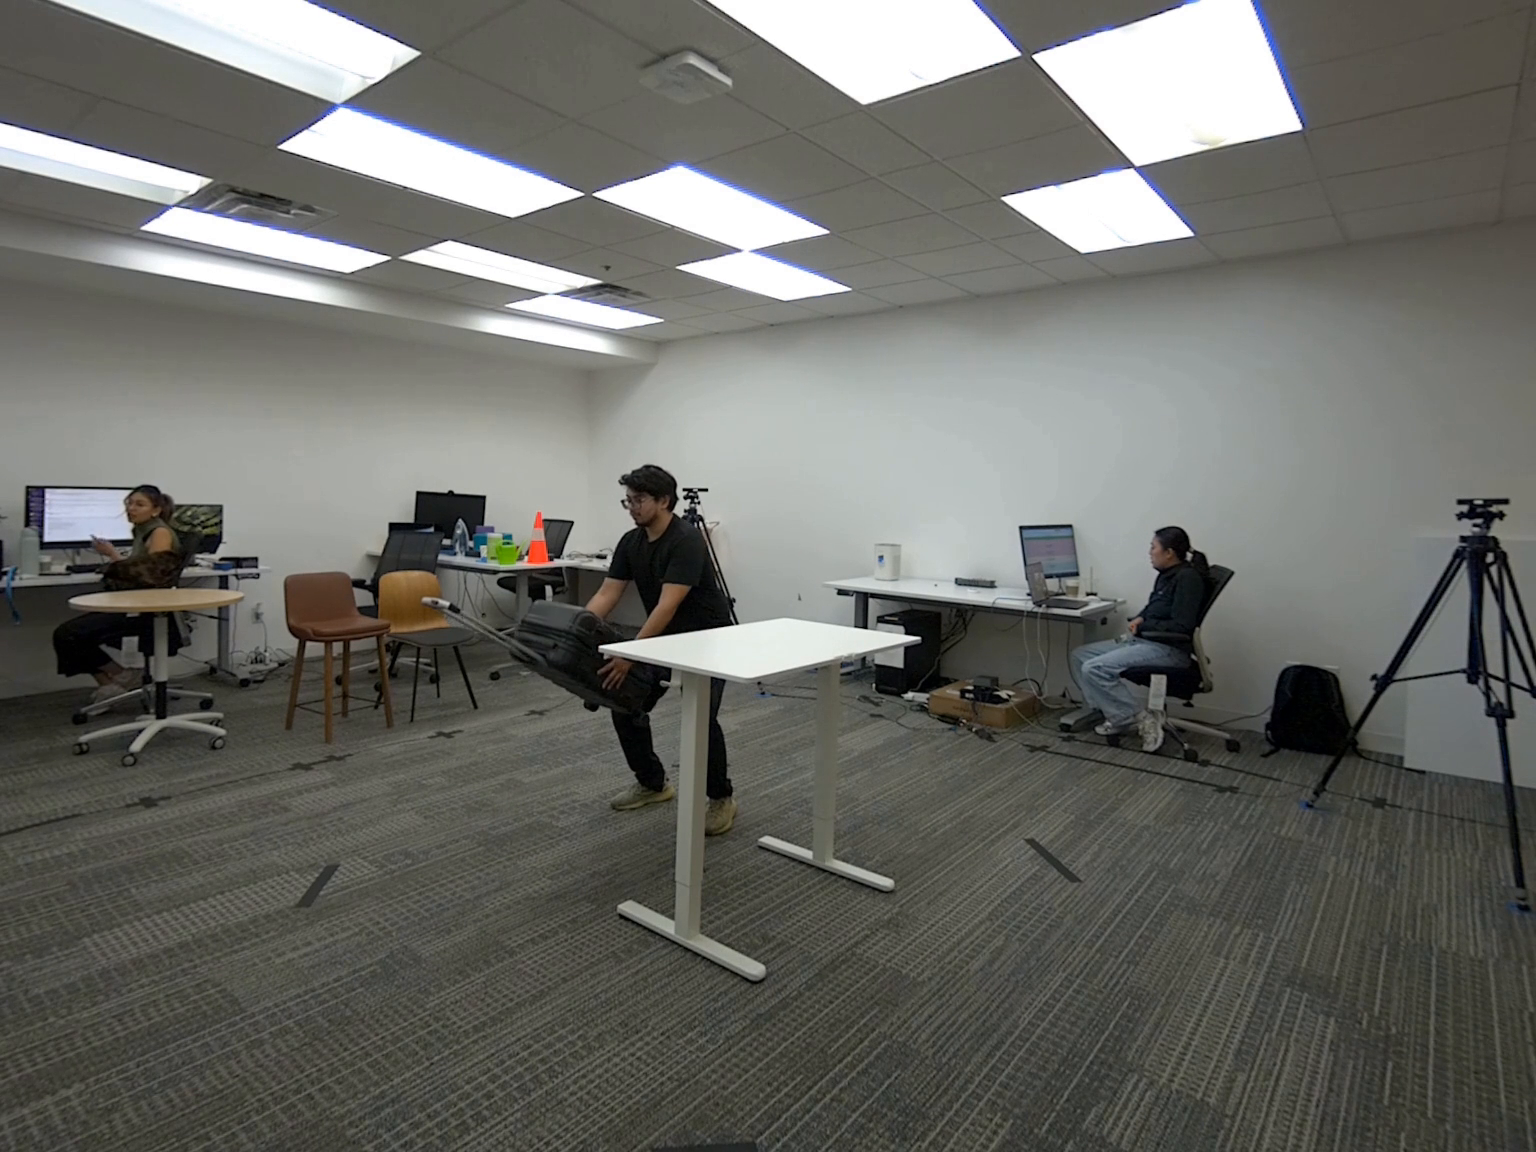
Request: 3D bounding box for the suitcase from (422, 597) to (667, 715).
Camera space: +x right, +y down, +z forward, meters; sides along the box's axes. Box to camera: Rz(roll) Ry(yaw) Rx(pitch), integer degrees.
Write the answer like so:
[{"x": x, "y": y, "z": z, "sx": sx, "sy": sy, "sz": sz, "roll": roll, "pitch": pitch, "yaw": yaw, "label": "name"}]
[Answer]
[{"x": -0.812, "y": 0.223, "z": 3.131, "sx": 0.397, "sy": 0.259, "sz": 0.938, "roll": 6, "pitch": -27, "yaw": 41, "label": "suitcase"}]
